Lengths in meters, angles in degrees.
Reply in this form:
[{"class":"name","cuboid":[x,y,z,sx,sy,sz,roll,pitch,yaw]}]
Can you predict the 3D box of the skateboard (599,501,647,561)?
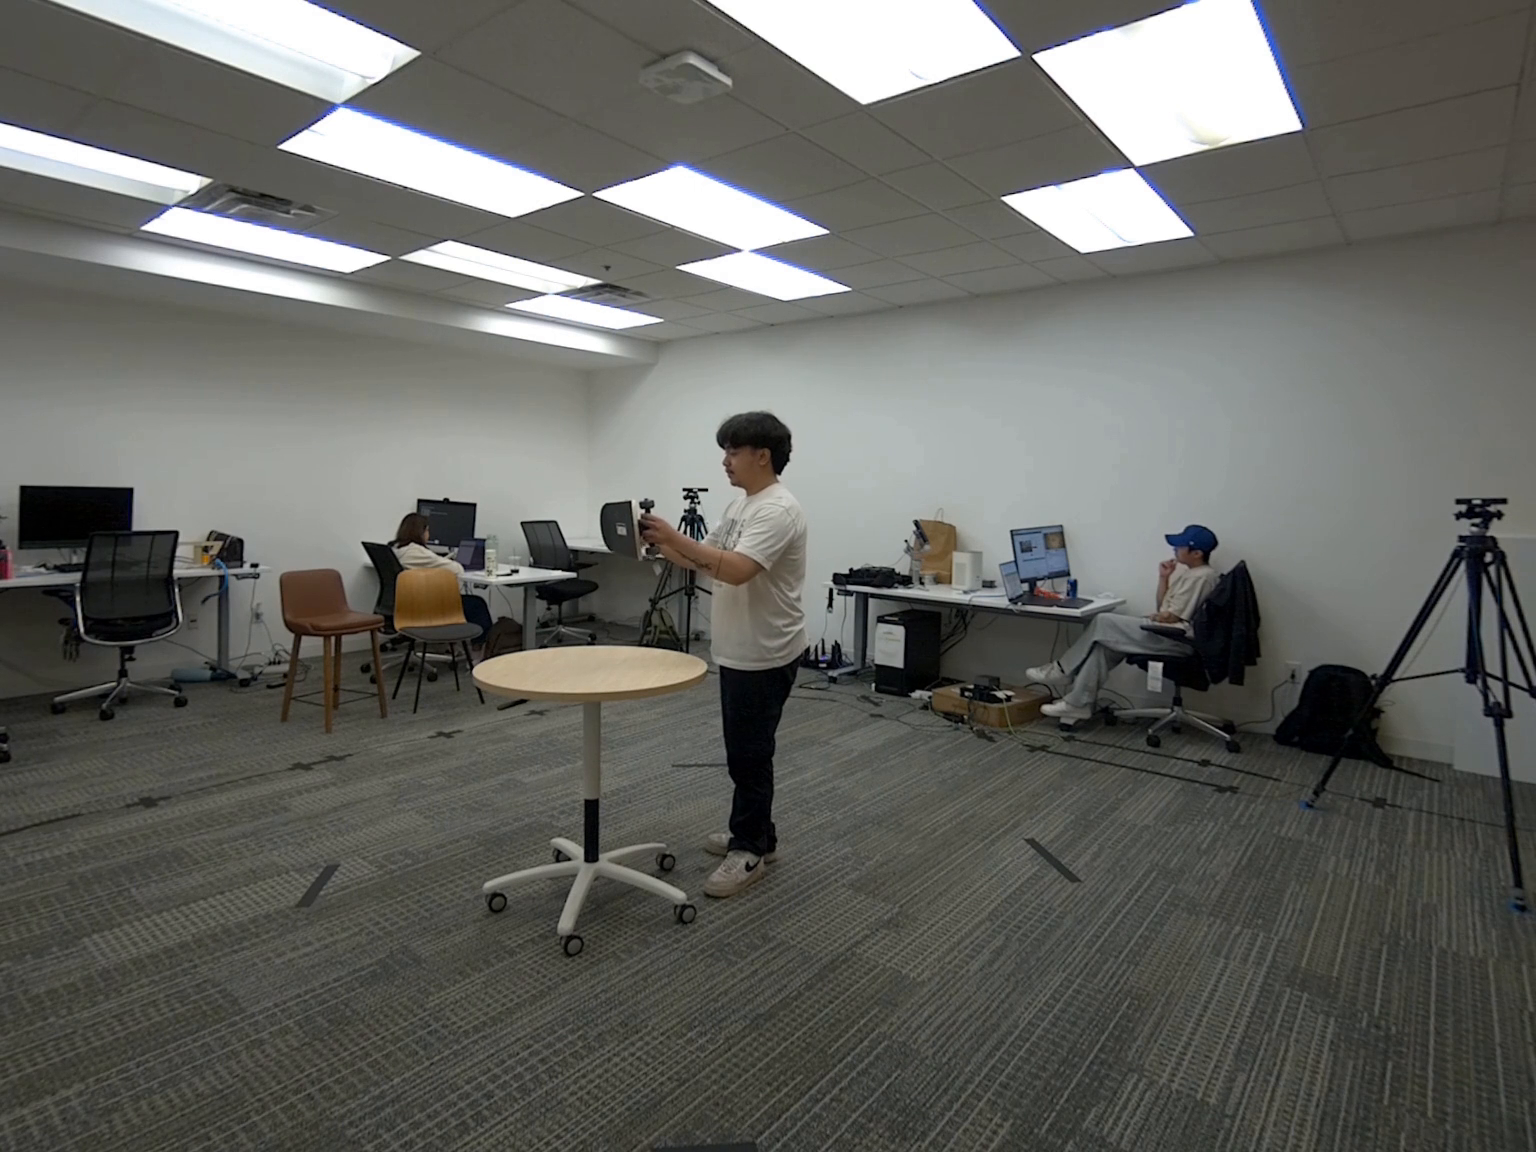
[{"class":"skateboard","cuboid":[-0.494,-0.170,2.970,0.108,0.192,0.802,-7,6,-19]}]
